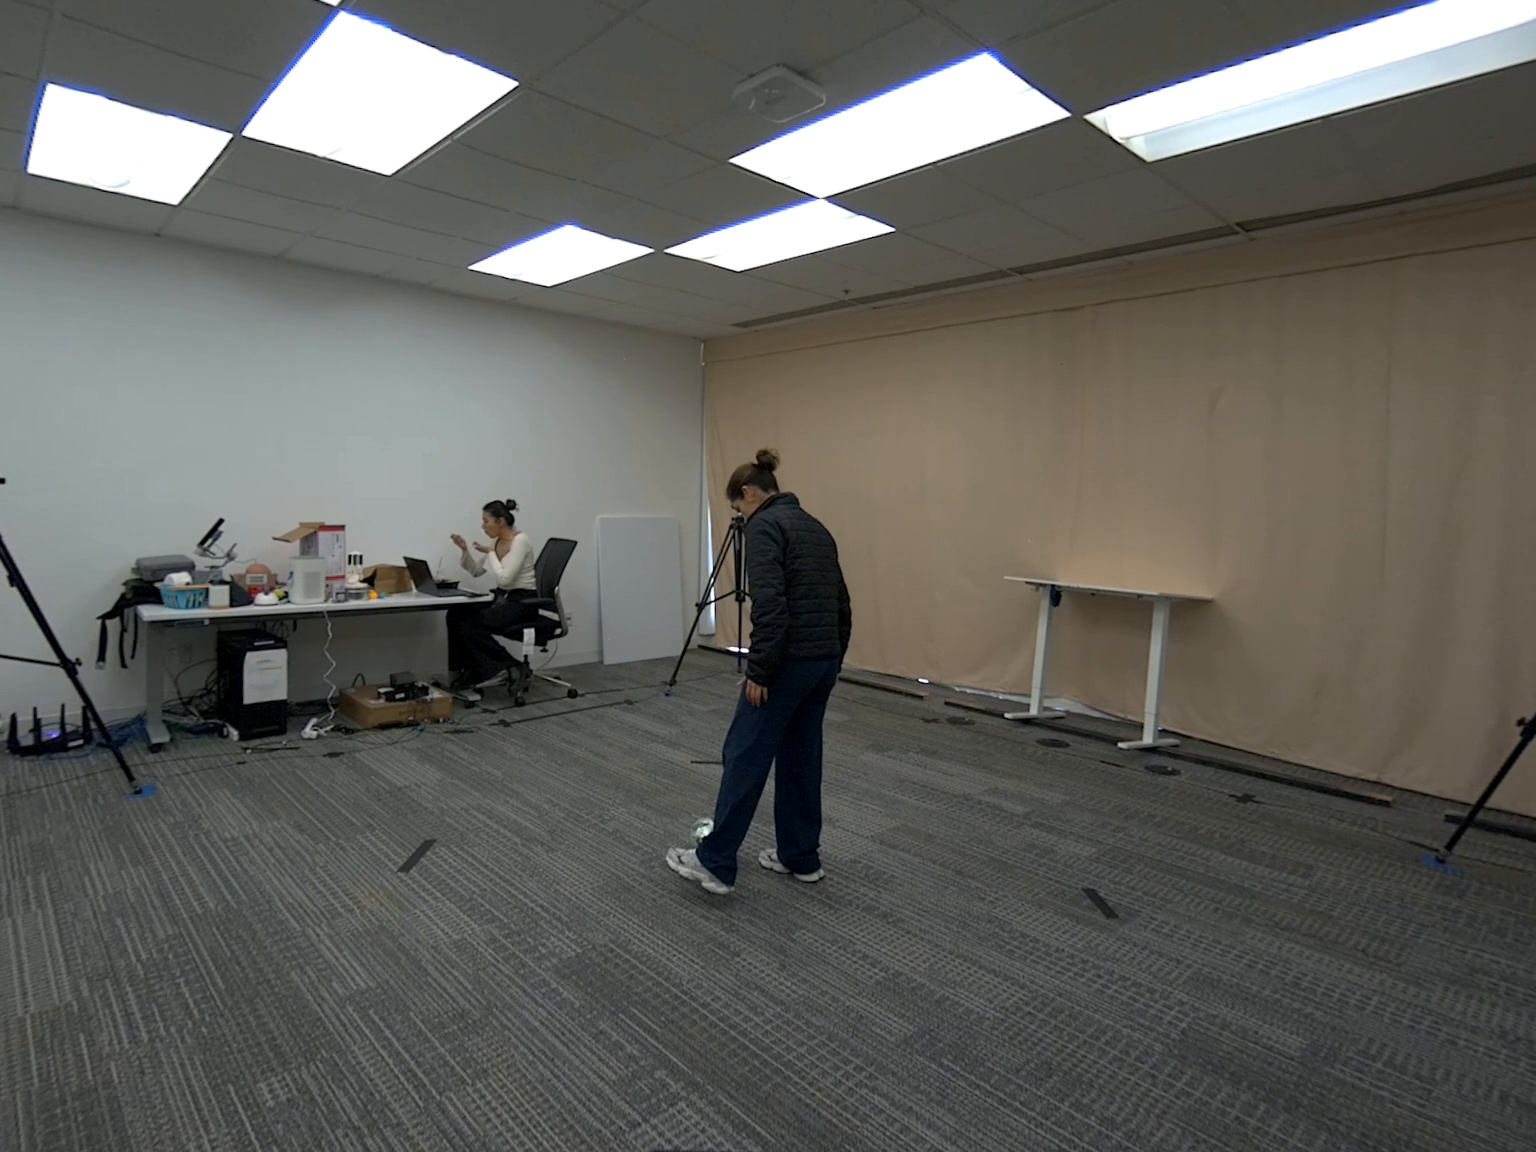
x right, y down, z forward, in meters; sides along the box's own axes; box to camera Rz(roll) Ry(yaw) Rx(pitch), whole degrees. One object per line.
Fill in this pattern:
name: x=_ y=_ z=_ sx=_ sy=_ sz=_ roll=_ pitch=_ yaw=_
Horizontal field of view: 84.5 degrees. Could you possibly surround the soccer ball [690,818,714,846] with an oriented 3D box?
soccer ball: x=-0.210 y=0.998 z=3.174 sx=0.187 sy=0.187 sz=0.188 roll=1 pitch=4 yaw=-1
